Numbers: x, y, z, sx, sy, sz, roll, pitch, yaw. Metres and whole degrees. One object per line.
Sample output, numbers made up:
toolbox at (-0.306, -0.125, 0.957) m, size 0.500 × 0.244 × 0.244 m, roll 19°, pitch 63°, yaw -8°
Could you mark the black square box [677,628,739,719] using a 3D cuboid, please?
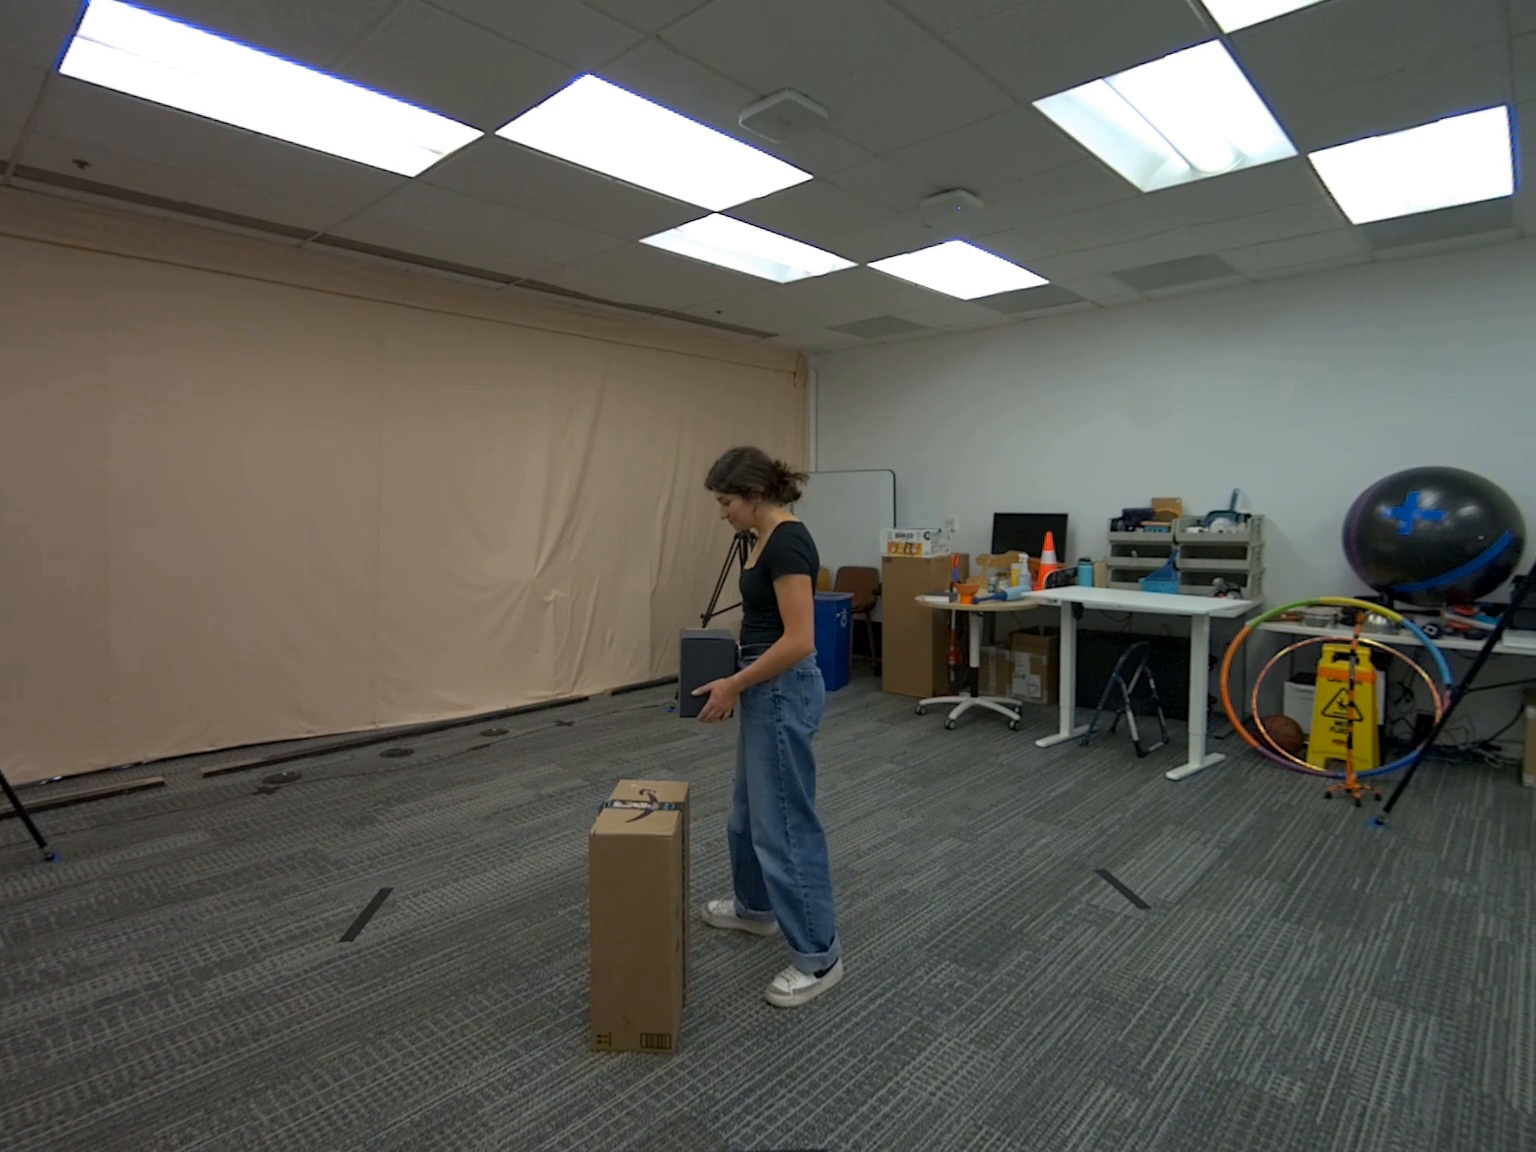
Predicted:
black square box at (-0.191, 0.281, 2.538) m, size 0.155 × 0.227 × 0.219 m, roll 1°, pitch 5°, yaw -8°
